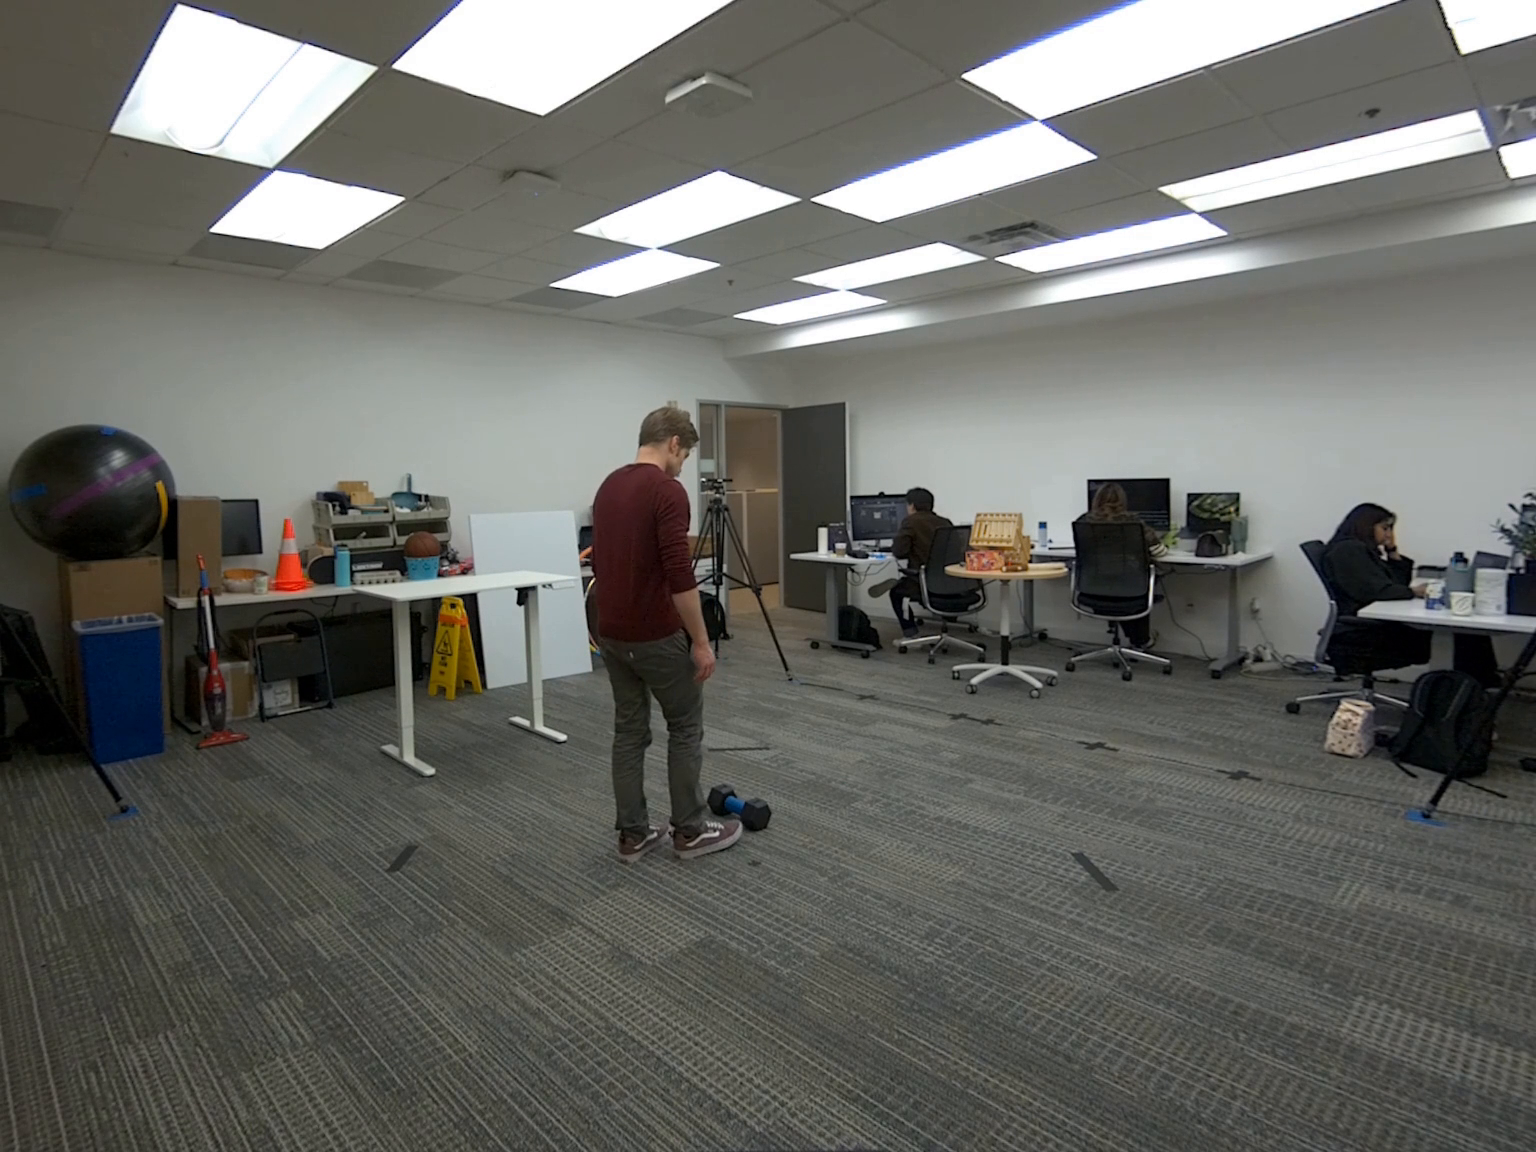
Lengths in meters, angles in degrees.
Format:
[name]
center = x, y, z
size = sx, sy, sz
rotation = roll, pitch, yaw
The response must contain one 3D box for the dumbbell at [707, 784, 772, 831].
[dumbbell]
center = -0.118, 0.949, 3.507
size = 0.105, 0.124, 0.303
rotation = 34, -17, -37
